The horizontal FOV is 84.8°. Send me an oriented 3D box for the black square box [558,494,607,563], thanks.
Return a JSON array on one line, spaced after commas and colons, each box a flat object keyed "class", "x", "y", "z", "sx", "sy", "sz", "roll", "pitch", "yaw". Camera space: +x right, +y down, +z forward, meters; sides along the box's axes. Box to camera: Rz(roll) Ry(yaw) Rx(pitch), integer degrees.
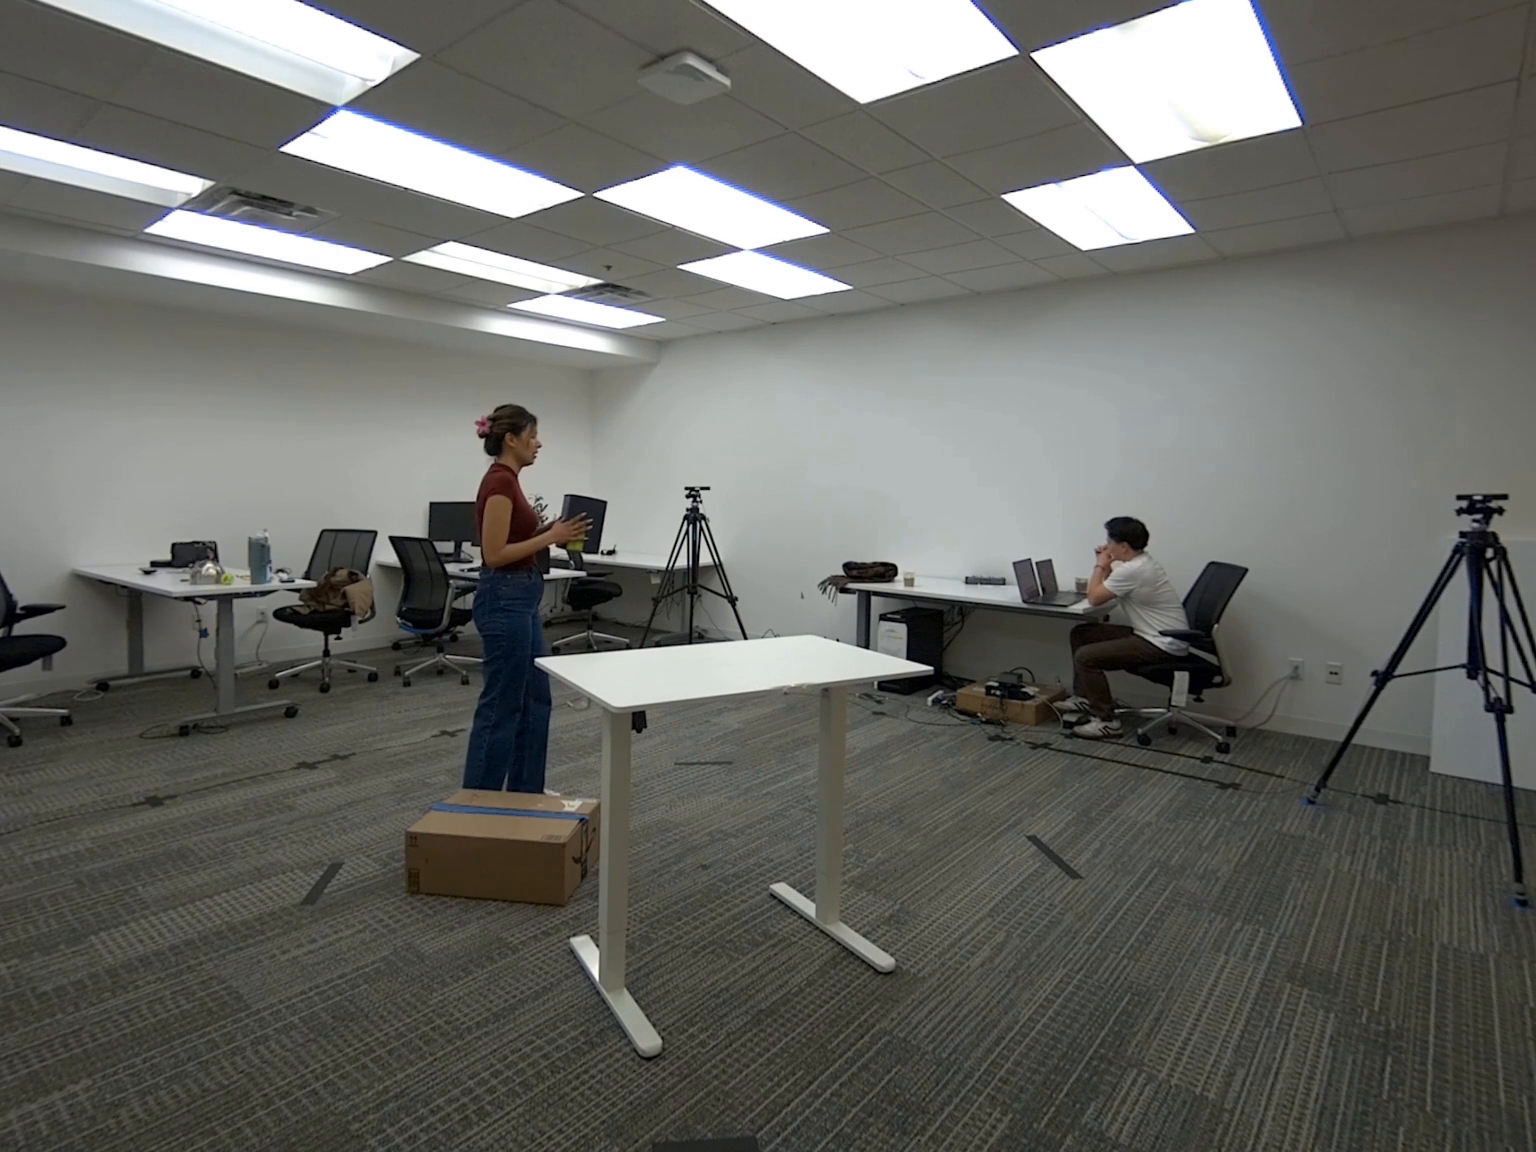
[{"class": "black square box", "x": -0.797, "y": -0.220, "z": 3.577, "sx": 0.153, "sy": 0.228, "sz": 0.220, "roll": 9, "pitch": 1, "yaw": -14}]
